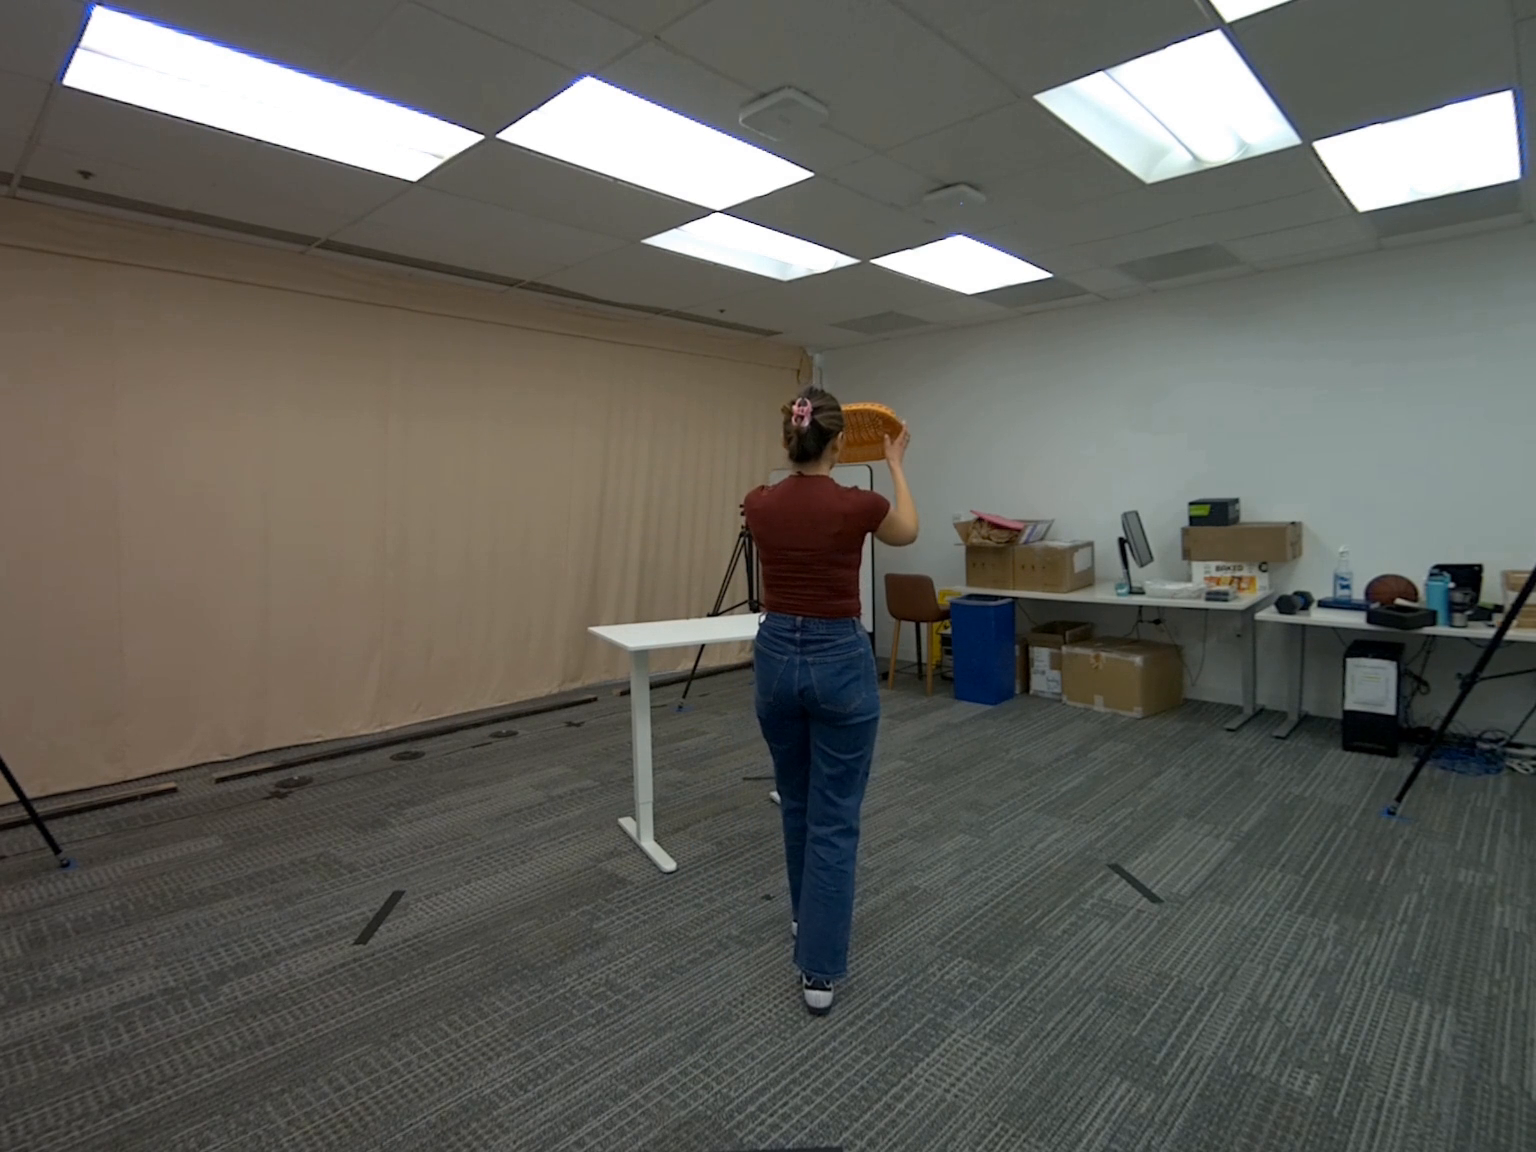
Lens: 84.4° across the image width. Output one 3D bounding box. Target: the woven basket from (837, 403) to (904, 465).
[{"bbox_3d":[0.286,-0.494,2.829,0.357,0.074,0.245,0,-37,18],"label":"woven basket"}]
